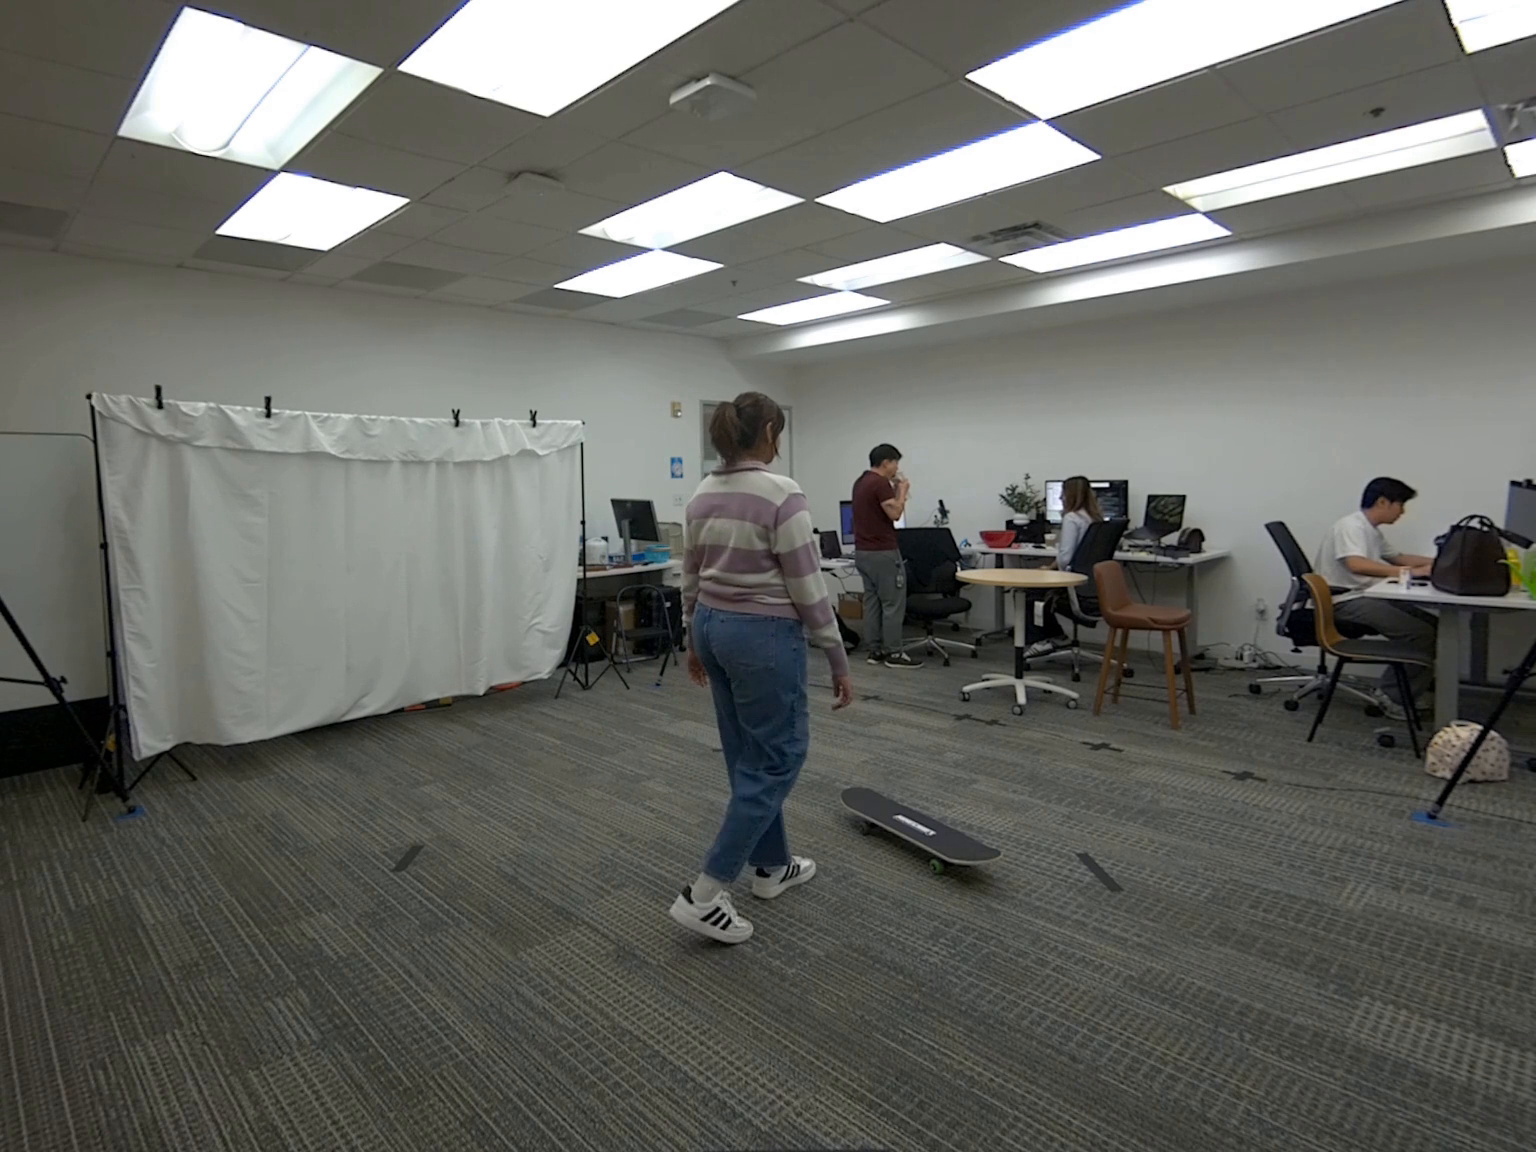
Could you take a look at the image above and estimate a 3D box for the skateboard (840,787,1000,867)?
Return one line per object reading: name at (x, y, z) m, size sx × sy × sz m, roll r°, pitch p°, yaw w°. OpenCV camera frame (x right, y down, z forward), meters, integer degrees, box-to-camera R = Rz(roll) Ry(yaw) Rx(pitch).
skateboard at (0.553, 0.970, 3.215) m, size 0.189 × 0.110 × 0.807 m, roll -5°, pitch 7°, yaw -30°
